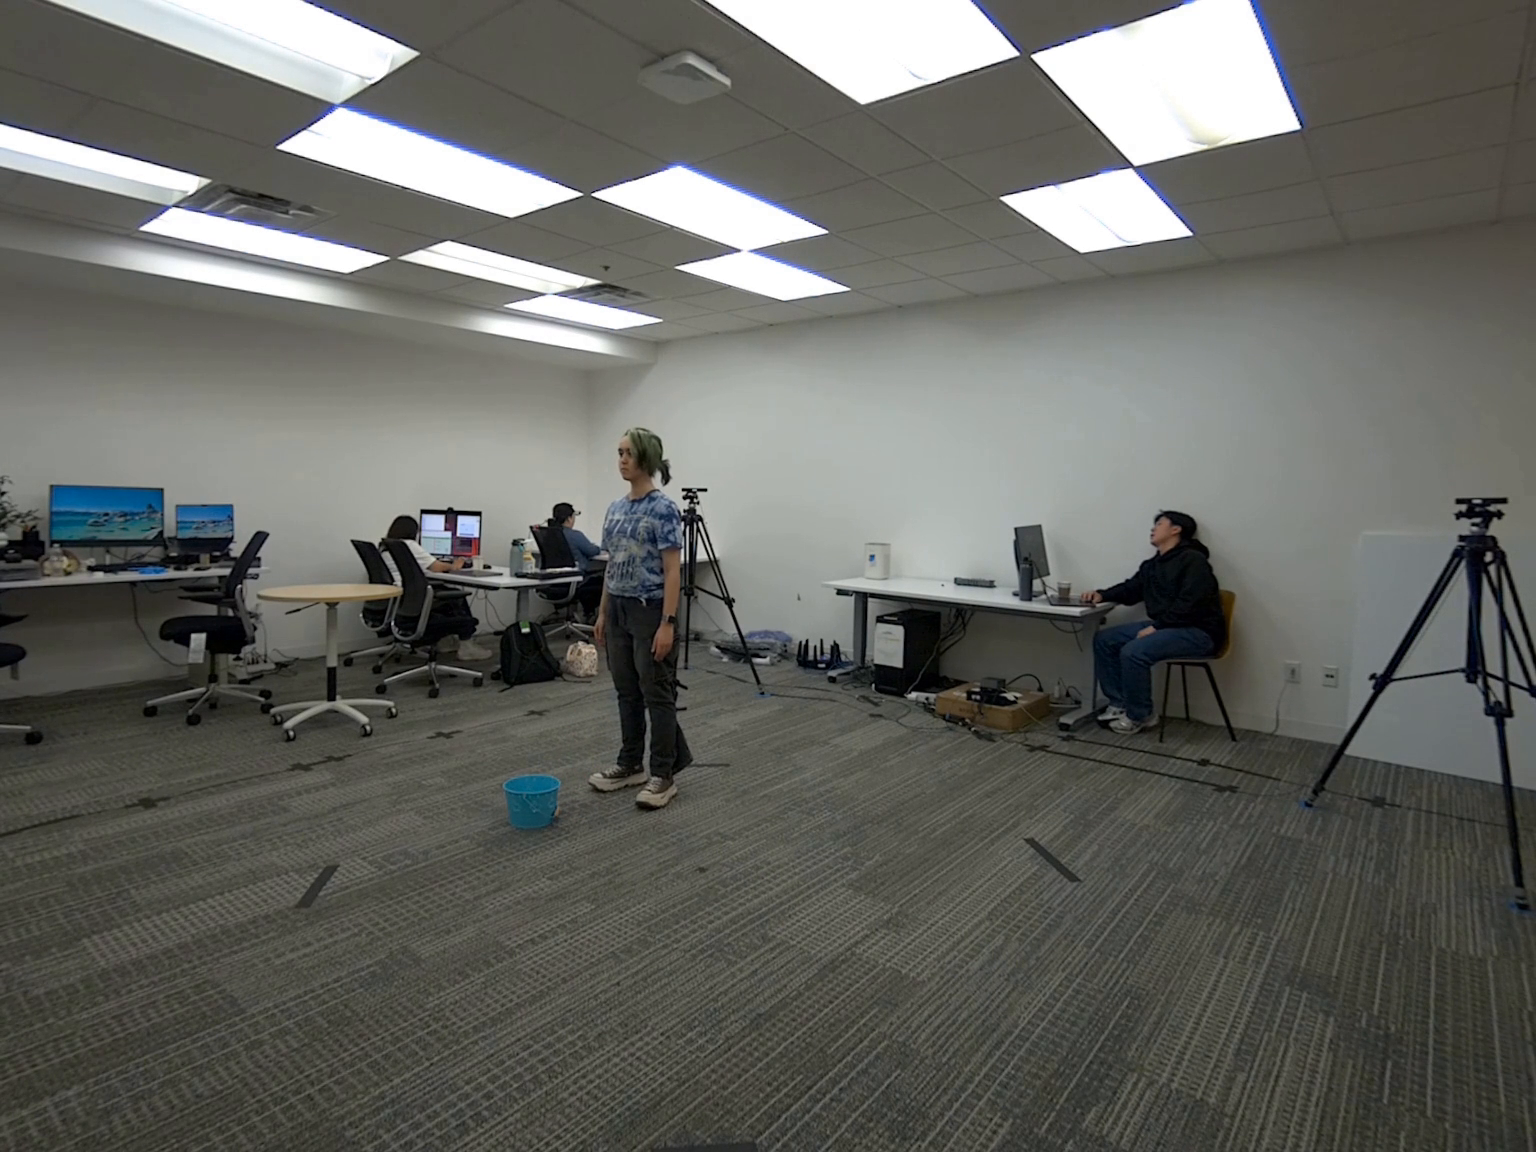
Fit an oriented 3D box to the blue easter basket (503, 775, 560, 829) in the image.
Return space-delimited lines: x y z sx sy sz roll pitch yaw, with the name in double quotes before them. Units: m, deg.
"blue easter basket" -0.994 0.937 3.543 0.243 0.155 0.245 1 6 -2
